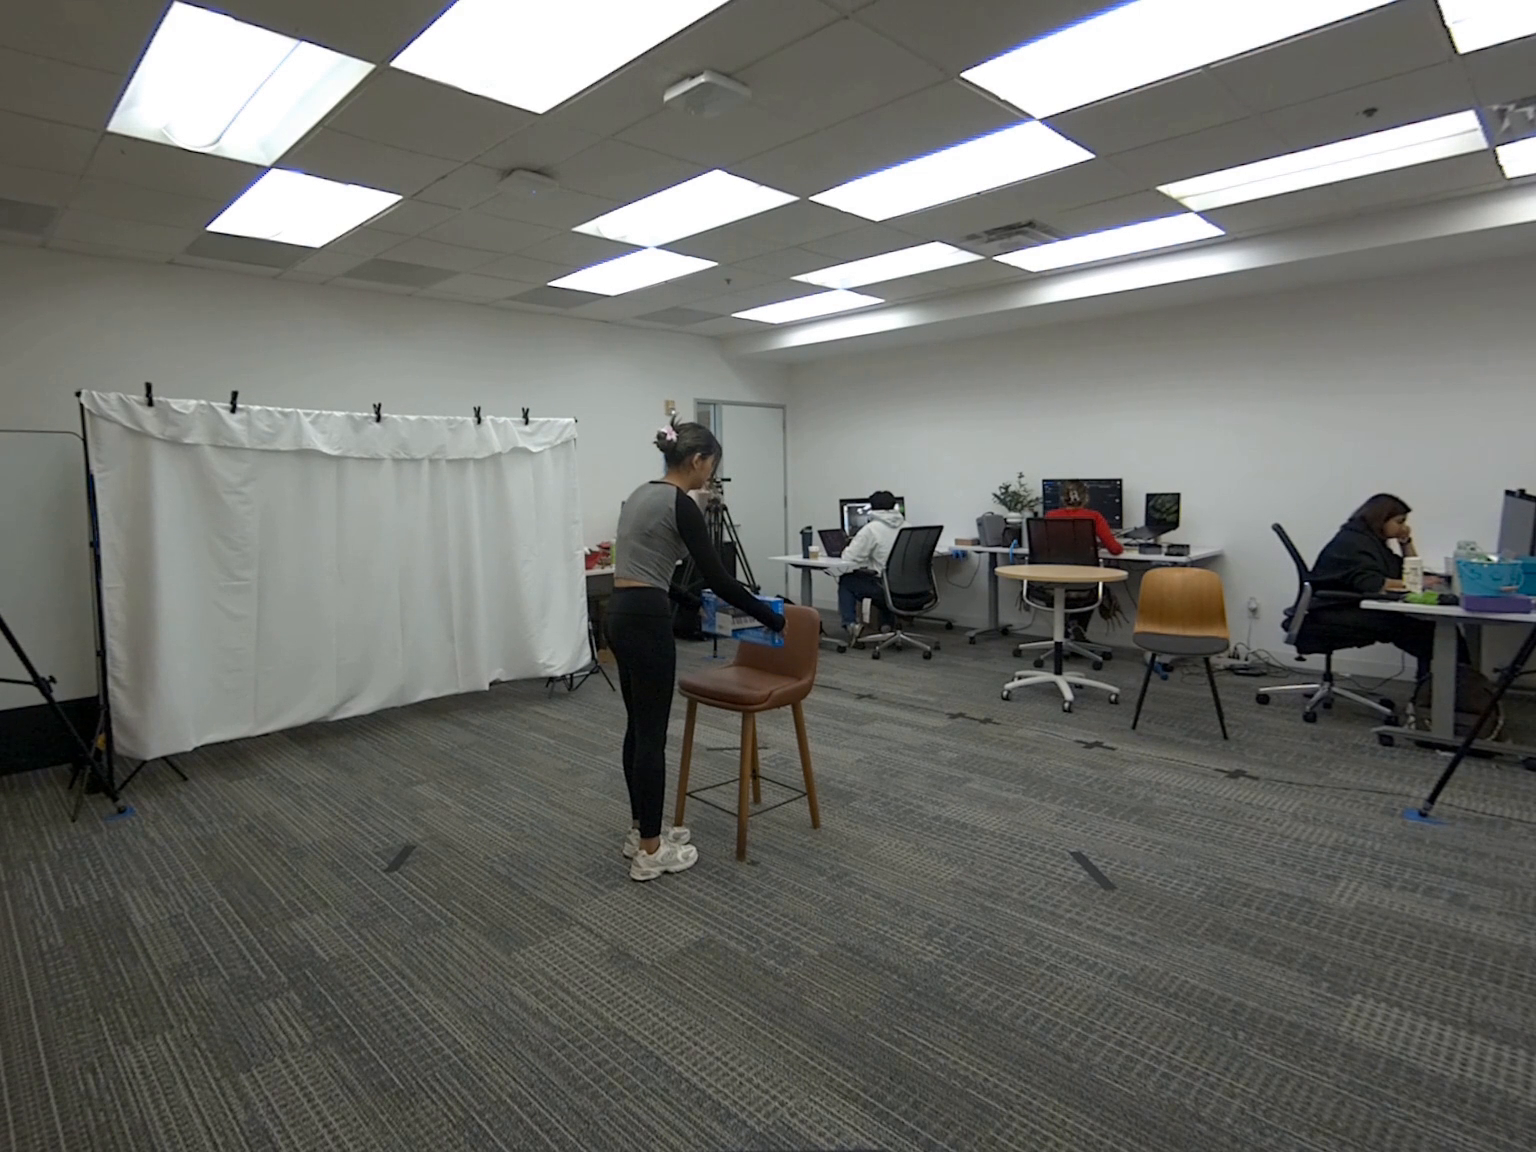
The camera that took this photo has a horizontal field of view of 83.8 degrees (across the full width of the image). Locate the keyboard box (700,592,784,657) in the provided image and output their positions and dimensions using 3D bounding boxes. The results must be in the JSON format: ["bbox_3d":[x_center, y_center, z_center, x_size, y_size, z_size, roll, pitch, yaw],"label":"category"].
[{"bbox_3d":[-0.105,0.161,3.331,0.057,0.175,0.450,-3,5,-40],"label":"keyboard box"}]
